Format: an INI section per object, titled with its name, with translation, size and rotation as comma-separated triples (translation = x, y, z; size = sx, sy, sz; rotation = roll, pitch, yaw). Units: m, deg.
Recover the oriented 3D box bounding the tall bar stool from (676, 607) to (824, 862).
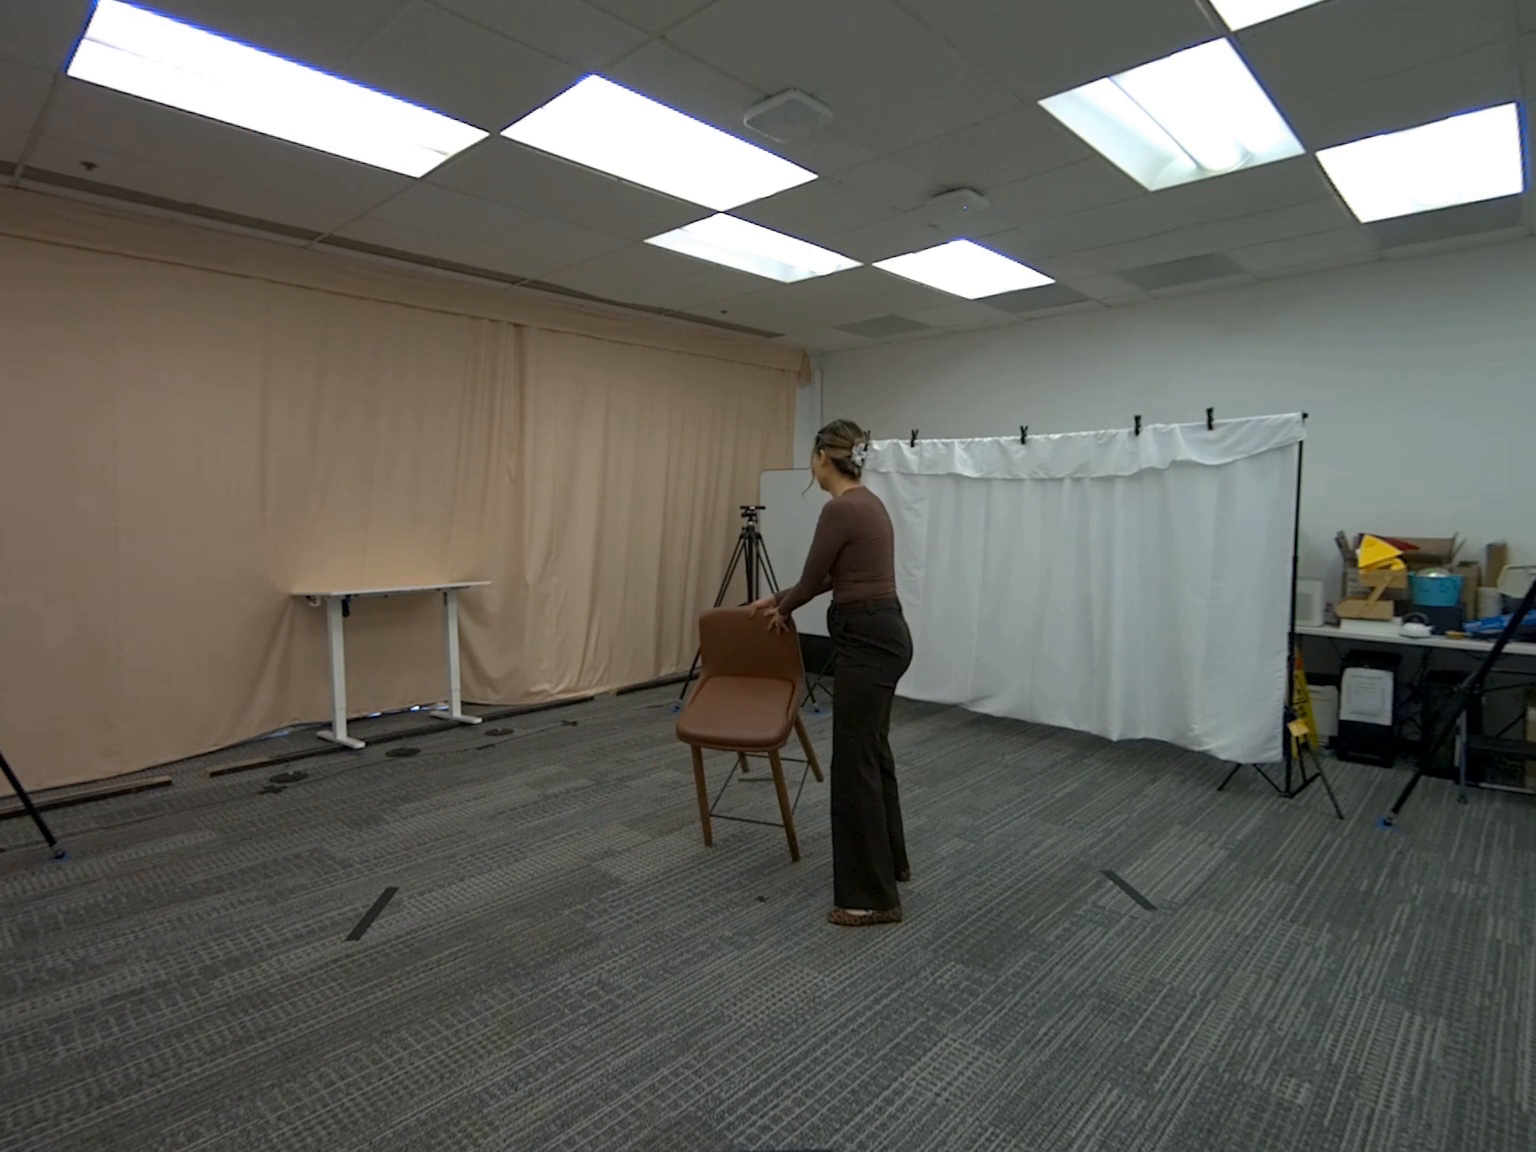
[tall bar stool]
translation = -0.074, 0.623, 3.353
size = 0.468, 0.872, 0.465
rotation = 2, 29, 23
